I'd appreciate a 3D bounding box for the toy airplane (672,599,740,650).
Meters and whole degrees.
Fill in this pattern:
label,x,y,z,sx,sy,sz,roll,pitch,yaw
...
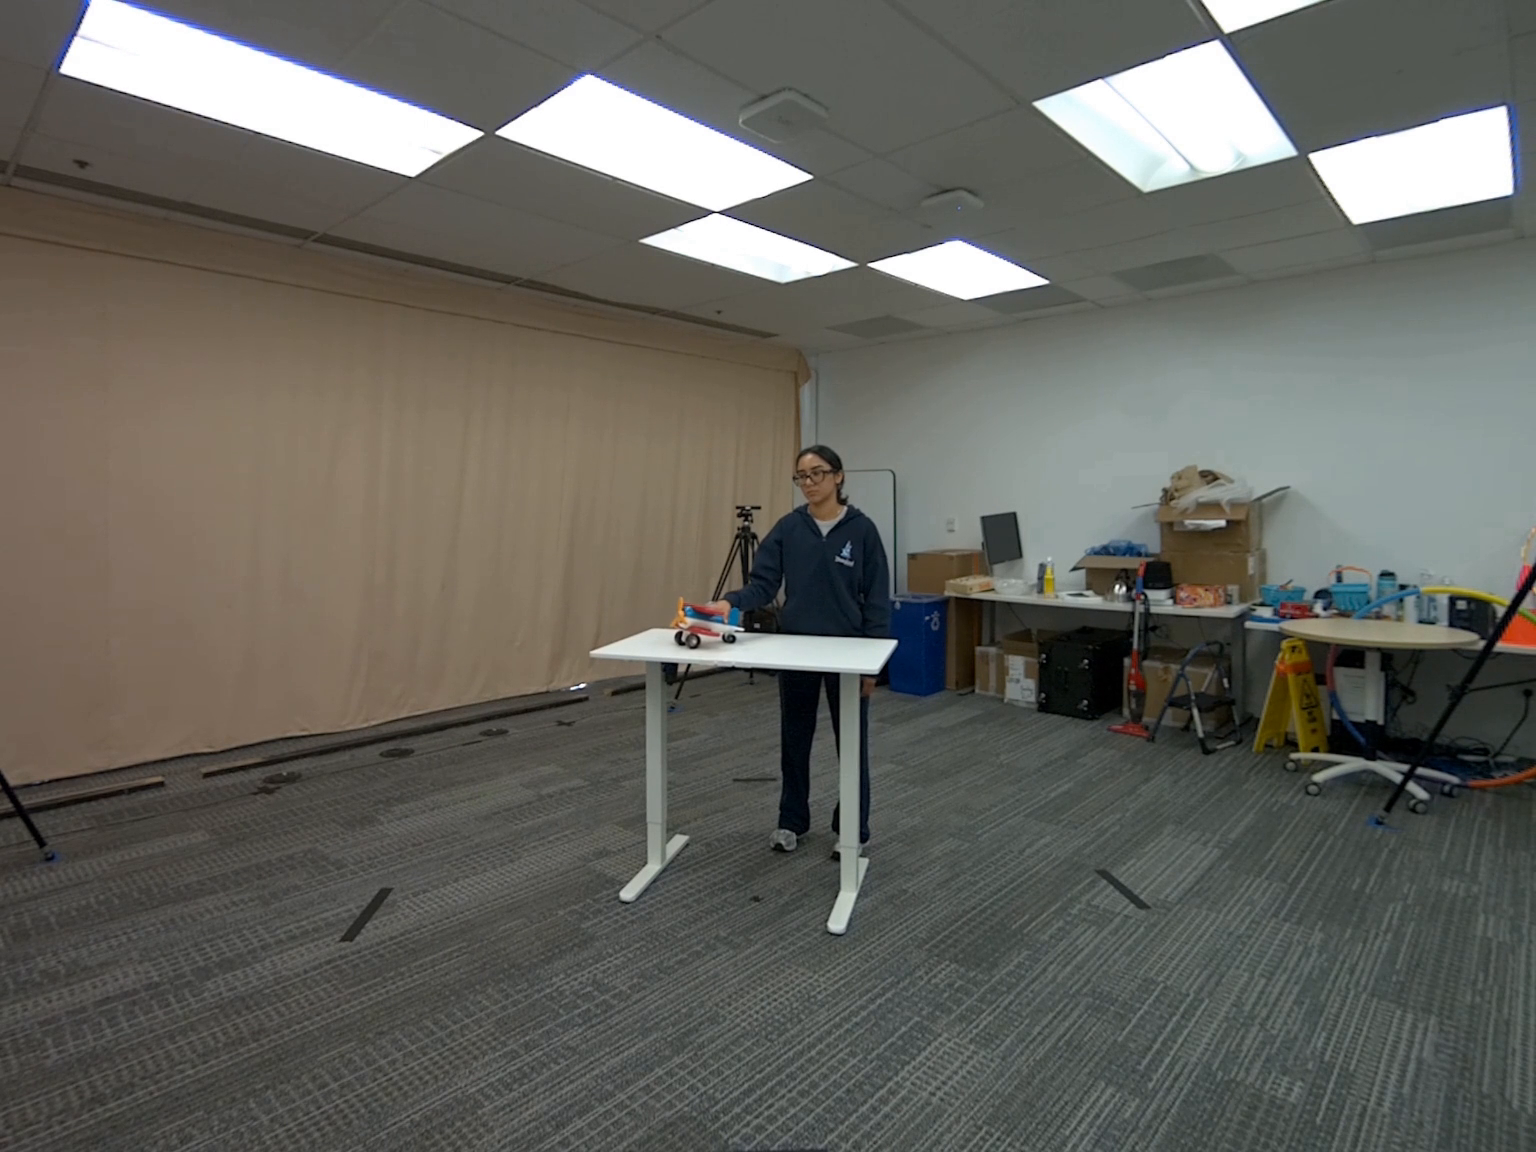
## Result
label,x,y,z,sx,sy,sz,roll,pitch,yaw
toy airplane,-0.222,0.177,3.110,0.258,0.156,0.252,3,6,30
